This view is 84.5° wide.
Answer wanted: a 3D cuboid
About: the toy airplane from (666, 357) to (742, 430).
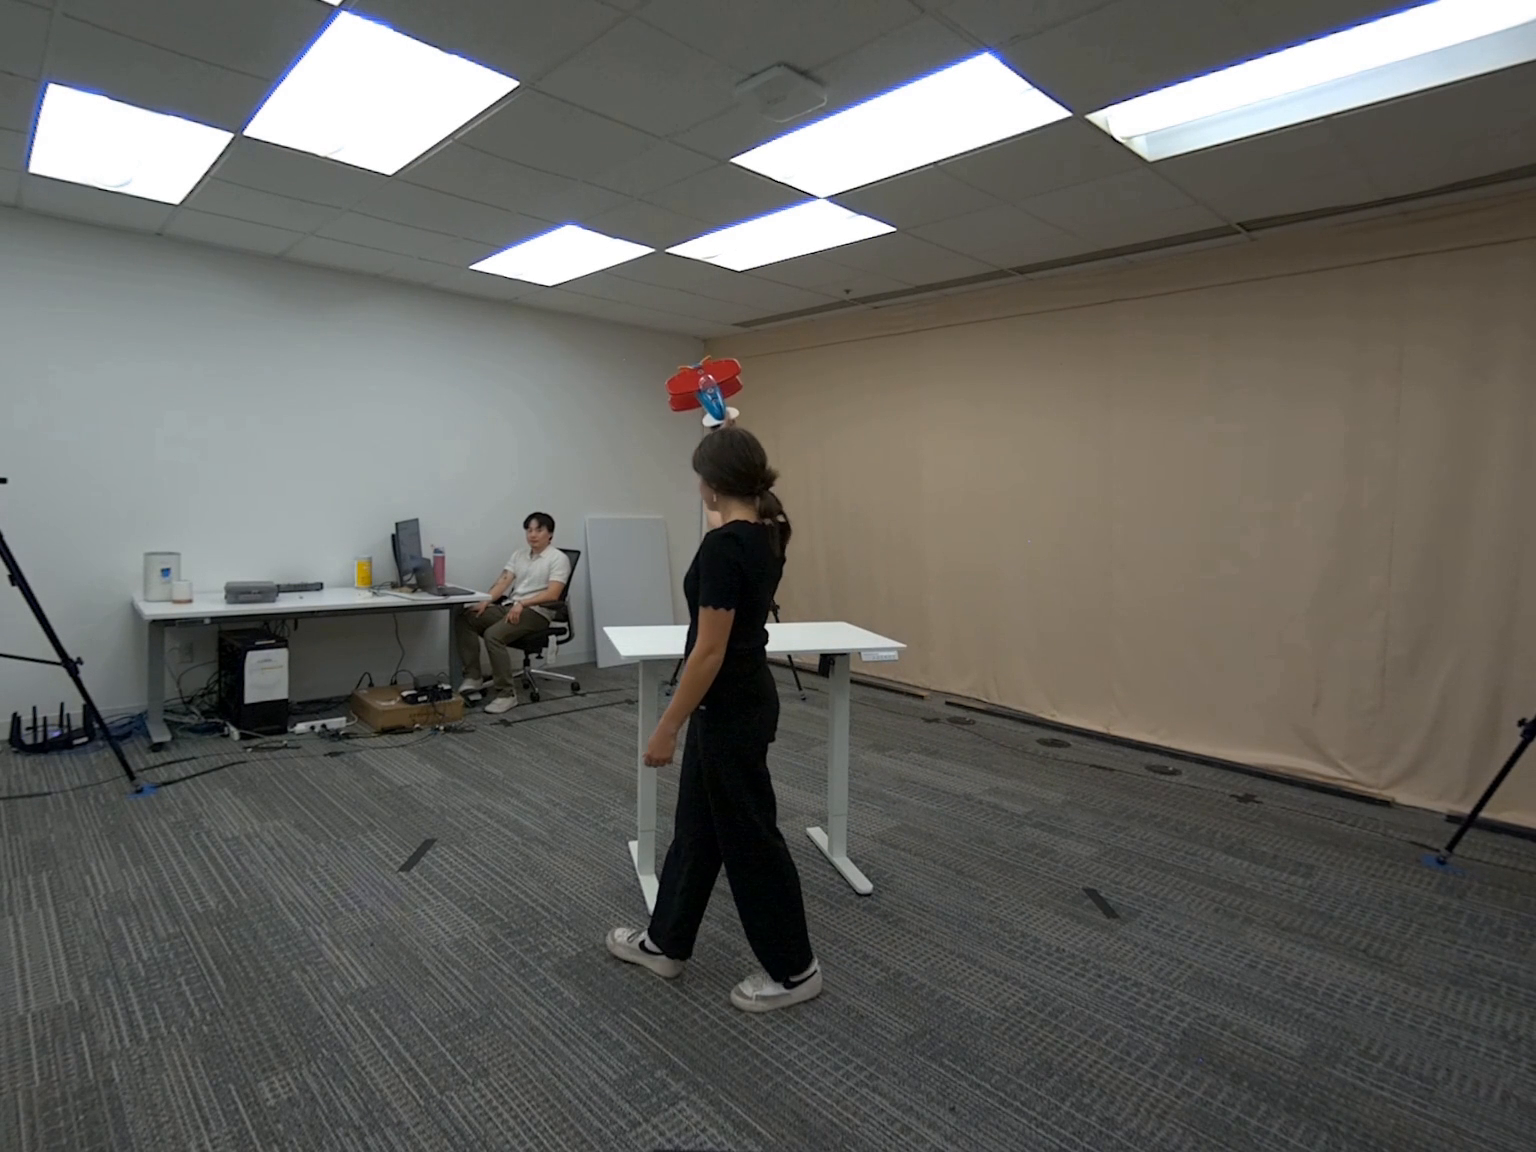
[{"bbox_3d":[-0.192,-0.601,2.781,0.267,0.152,0.250,27,57,34],"label":"toy airplane"}]
